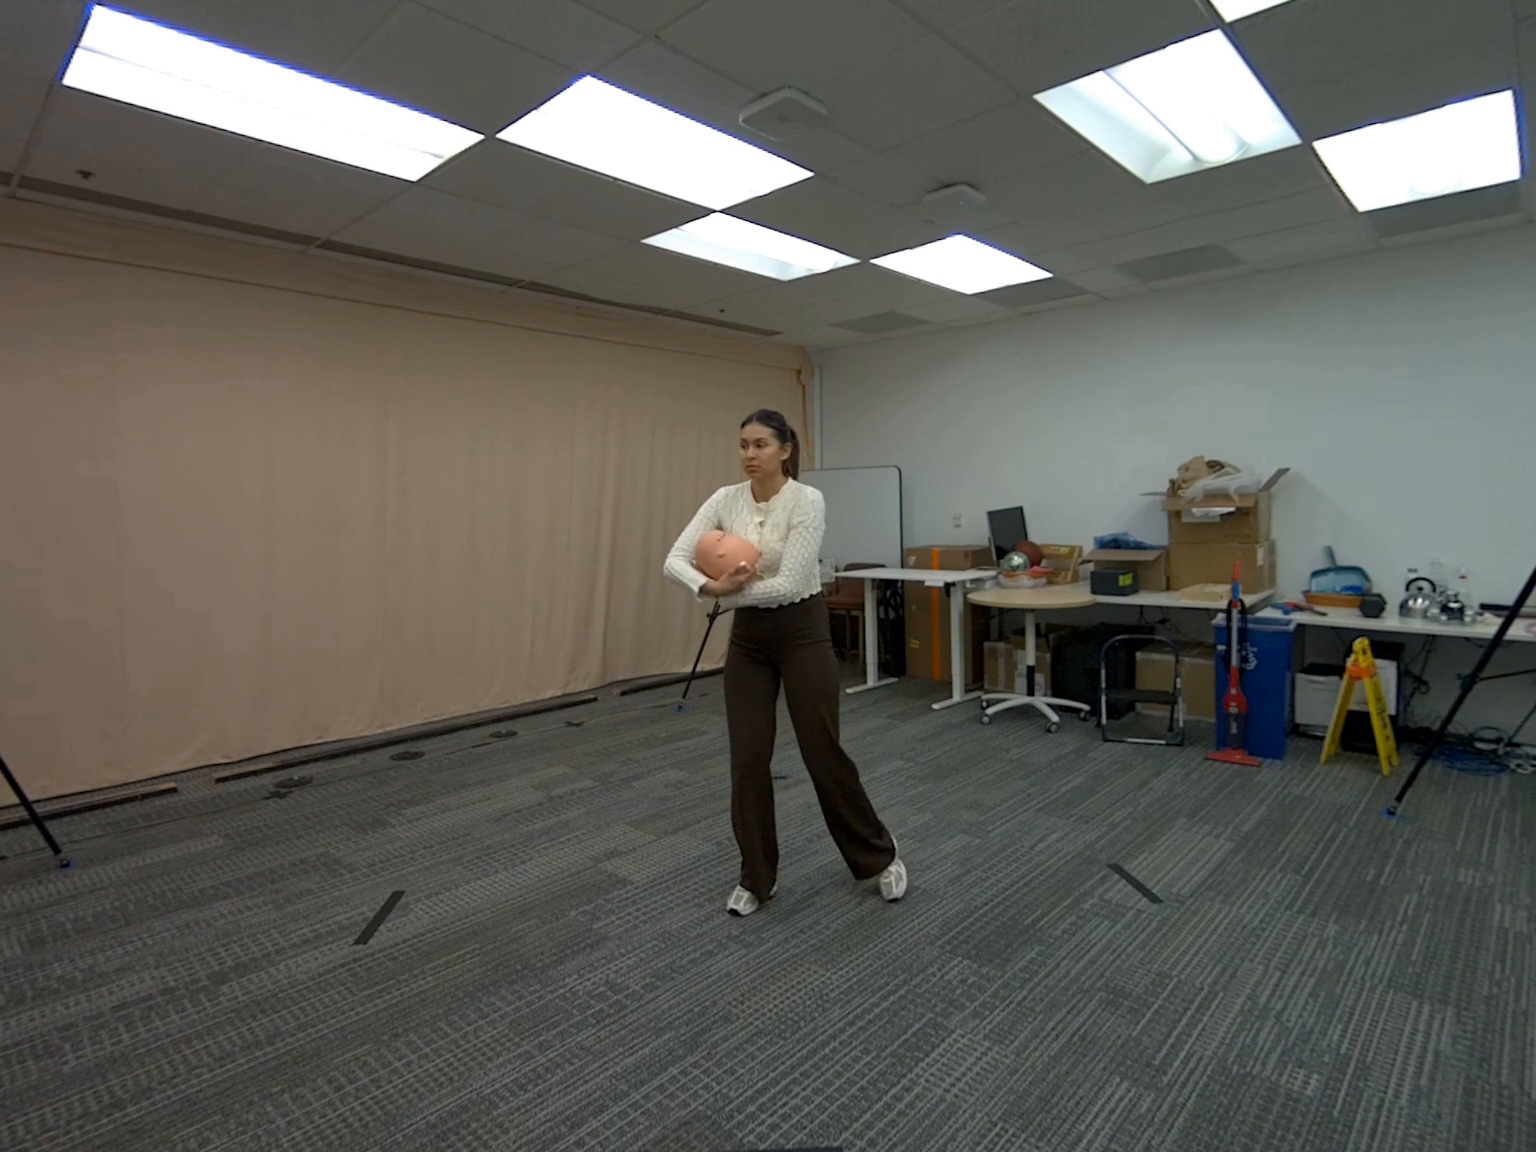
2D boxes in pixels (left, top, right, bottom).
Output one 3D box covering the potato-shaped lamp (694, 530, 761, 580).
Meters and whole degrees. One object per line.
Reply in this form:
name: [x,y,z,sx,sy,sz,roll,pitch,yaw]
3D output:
potato-shaped lamp: [-0.123,-0.060,2.751,0.173,0.199,0.163,-47,-3,38]
